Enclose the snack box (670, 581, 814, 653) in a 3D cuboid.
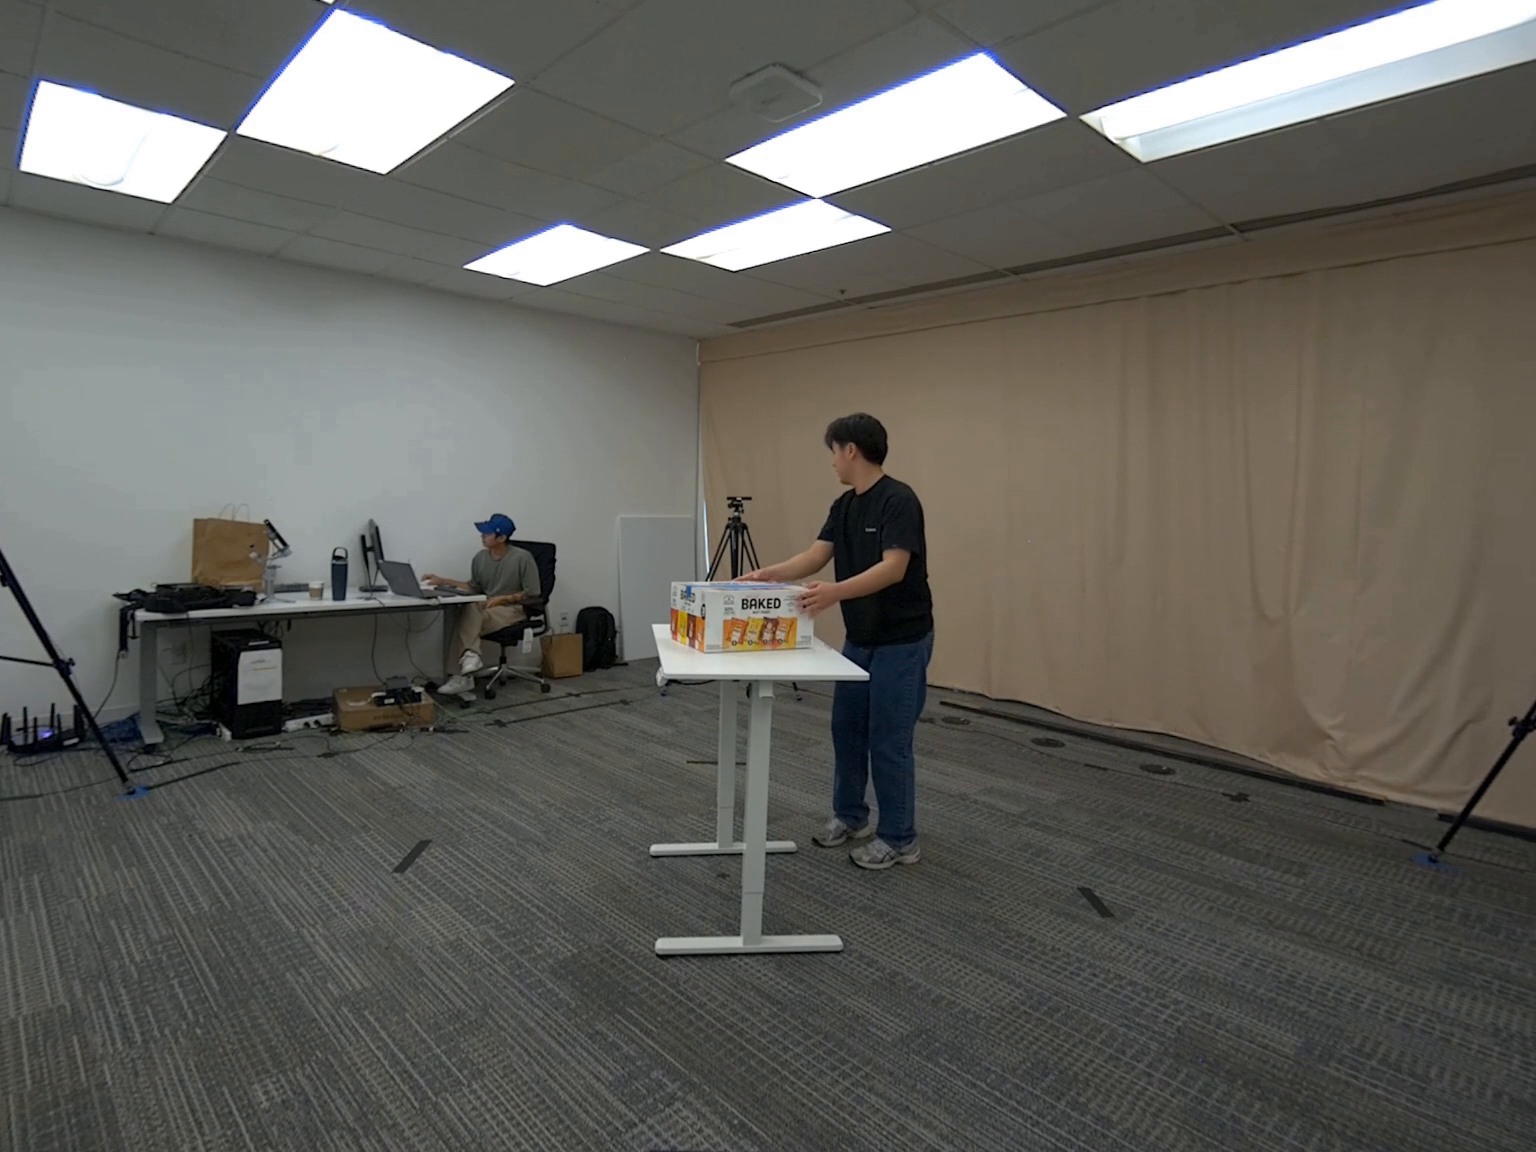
[{"bbox_3d":[-0.101,0.138,2.956,0.398,0.205,0.347,0,5,-25],"label":"snack box"}]
